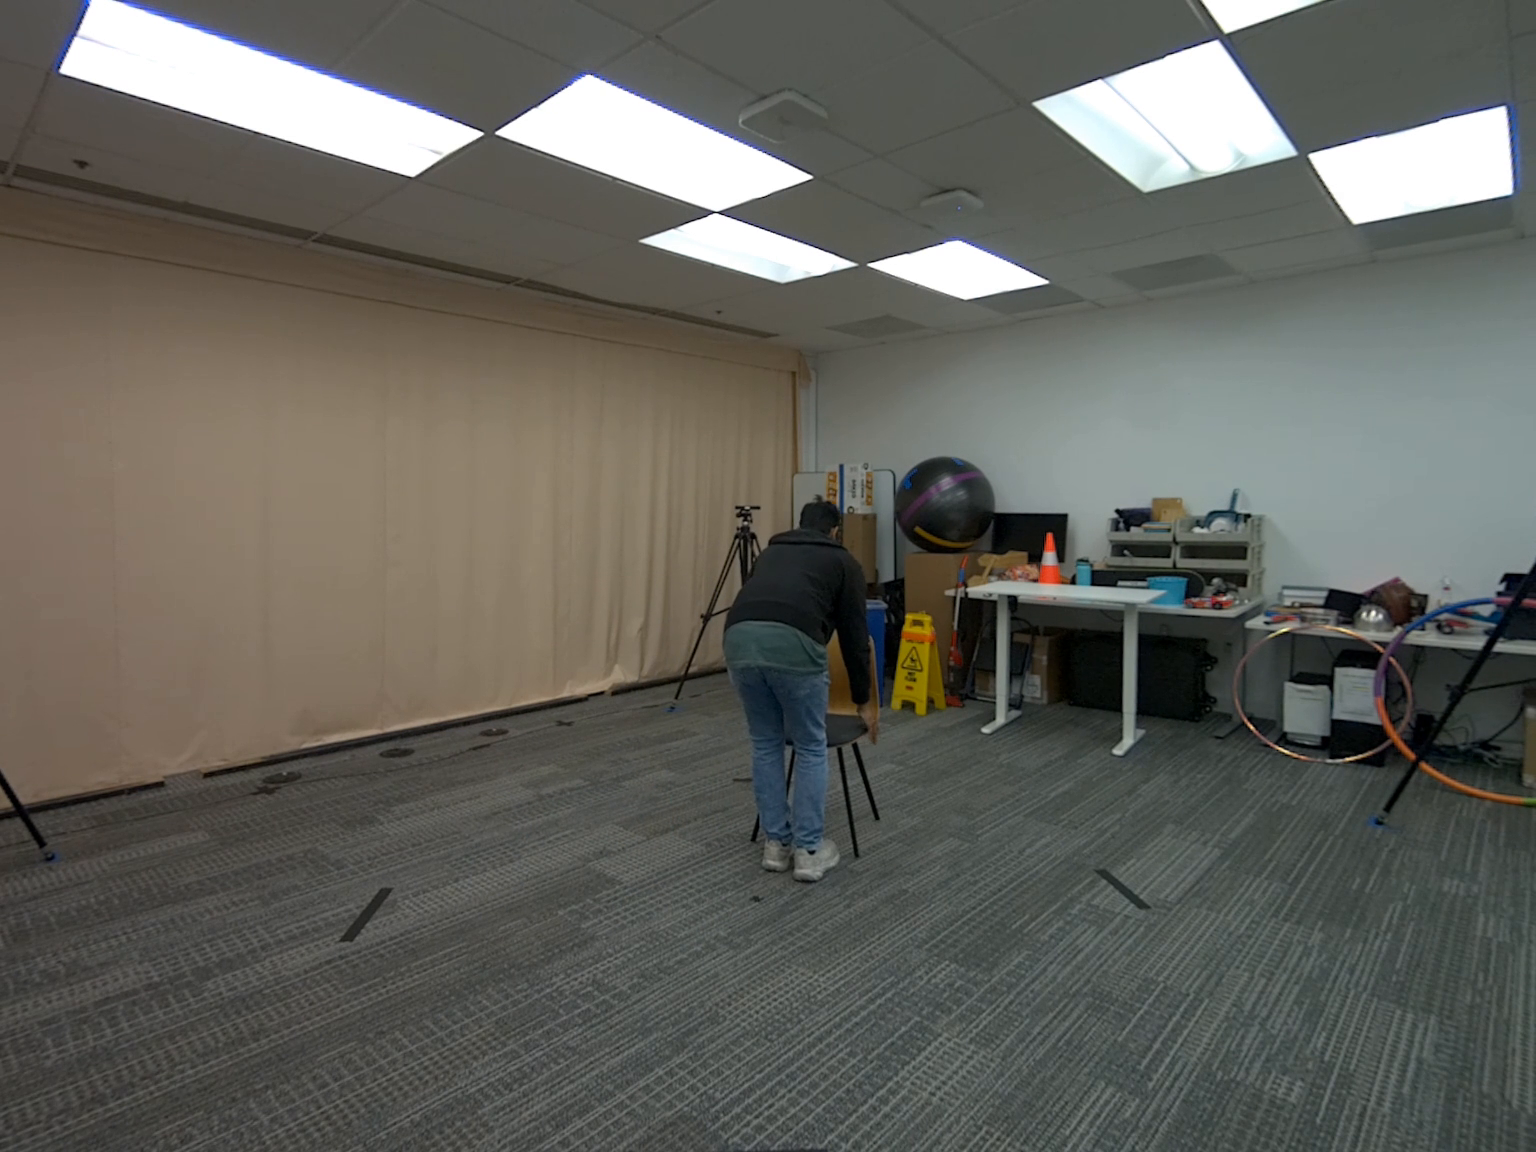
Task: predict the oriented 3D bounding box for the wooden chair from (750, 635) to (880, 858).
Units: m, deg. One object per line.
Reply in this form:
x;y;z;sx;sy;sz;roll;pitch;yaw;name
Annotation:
0.211;0.663;3.582;0.489;0.878;0.511;1;-1;20;wooden chair
